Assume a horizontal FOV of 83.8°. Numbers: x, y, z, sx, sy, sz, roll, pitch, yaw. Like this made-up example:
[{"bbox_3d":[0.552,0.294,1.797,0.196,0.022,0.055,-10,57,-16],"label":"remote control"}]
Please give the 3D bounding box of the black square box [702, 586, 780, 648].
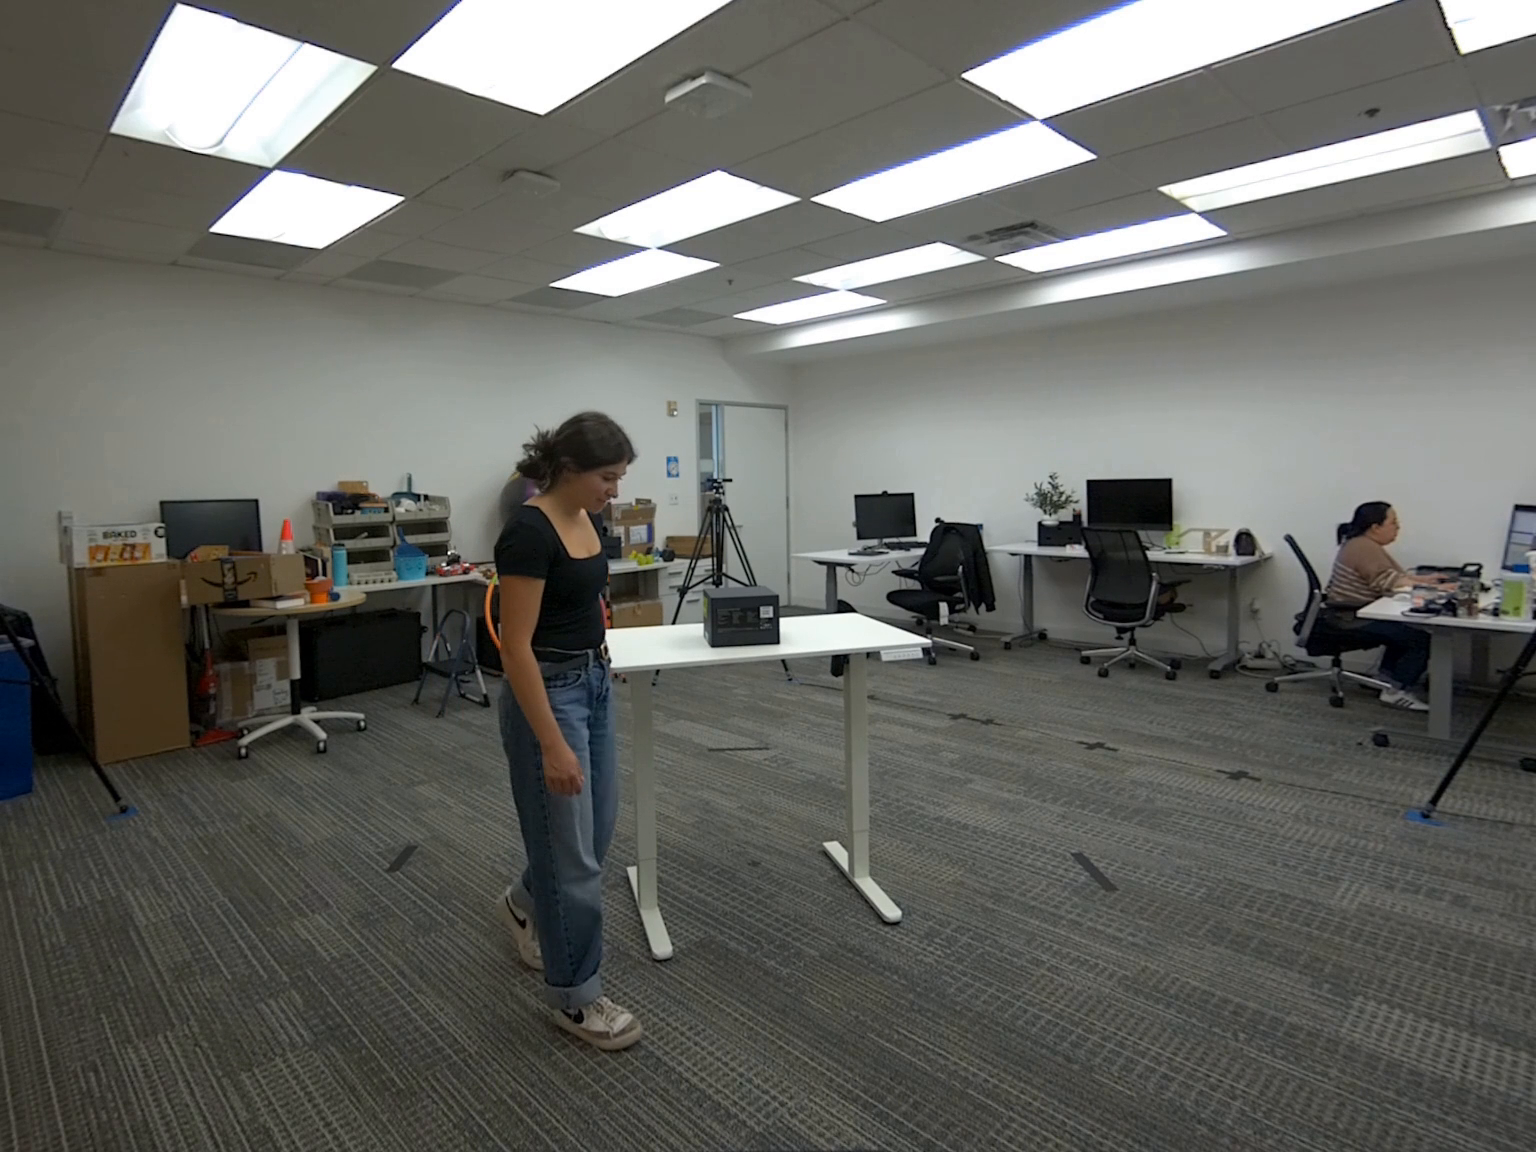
[{"bbox_3d":[-0.088,0.120,2.743,0.215,0.155,0.230,-2,6,-8],"label":"black square box"}]
